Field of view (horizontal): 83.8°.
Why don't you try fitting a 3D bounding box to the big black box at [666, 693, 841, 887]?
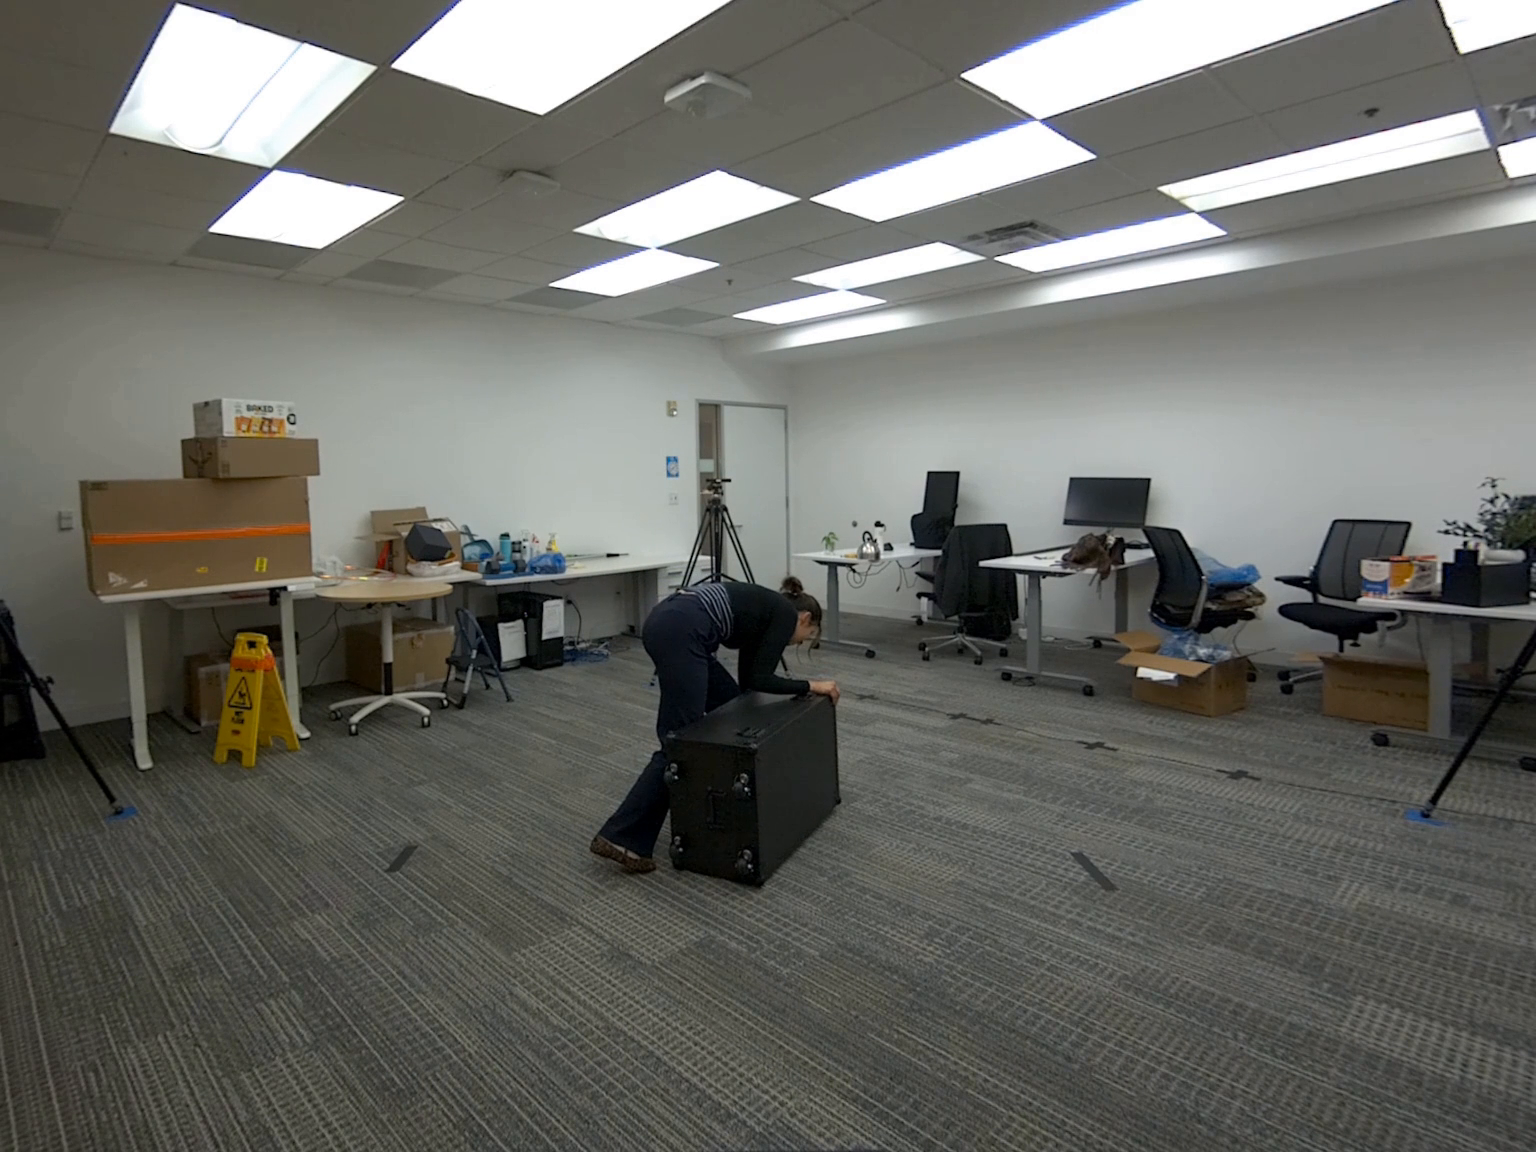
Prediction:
[{"bbox_3d":[-0.056,0.765,3.288,0.405,0.519,0.846,0,6,25],"label":"big black box"}]
